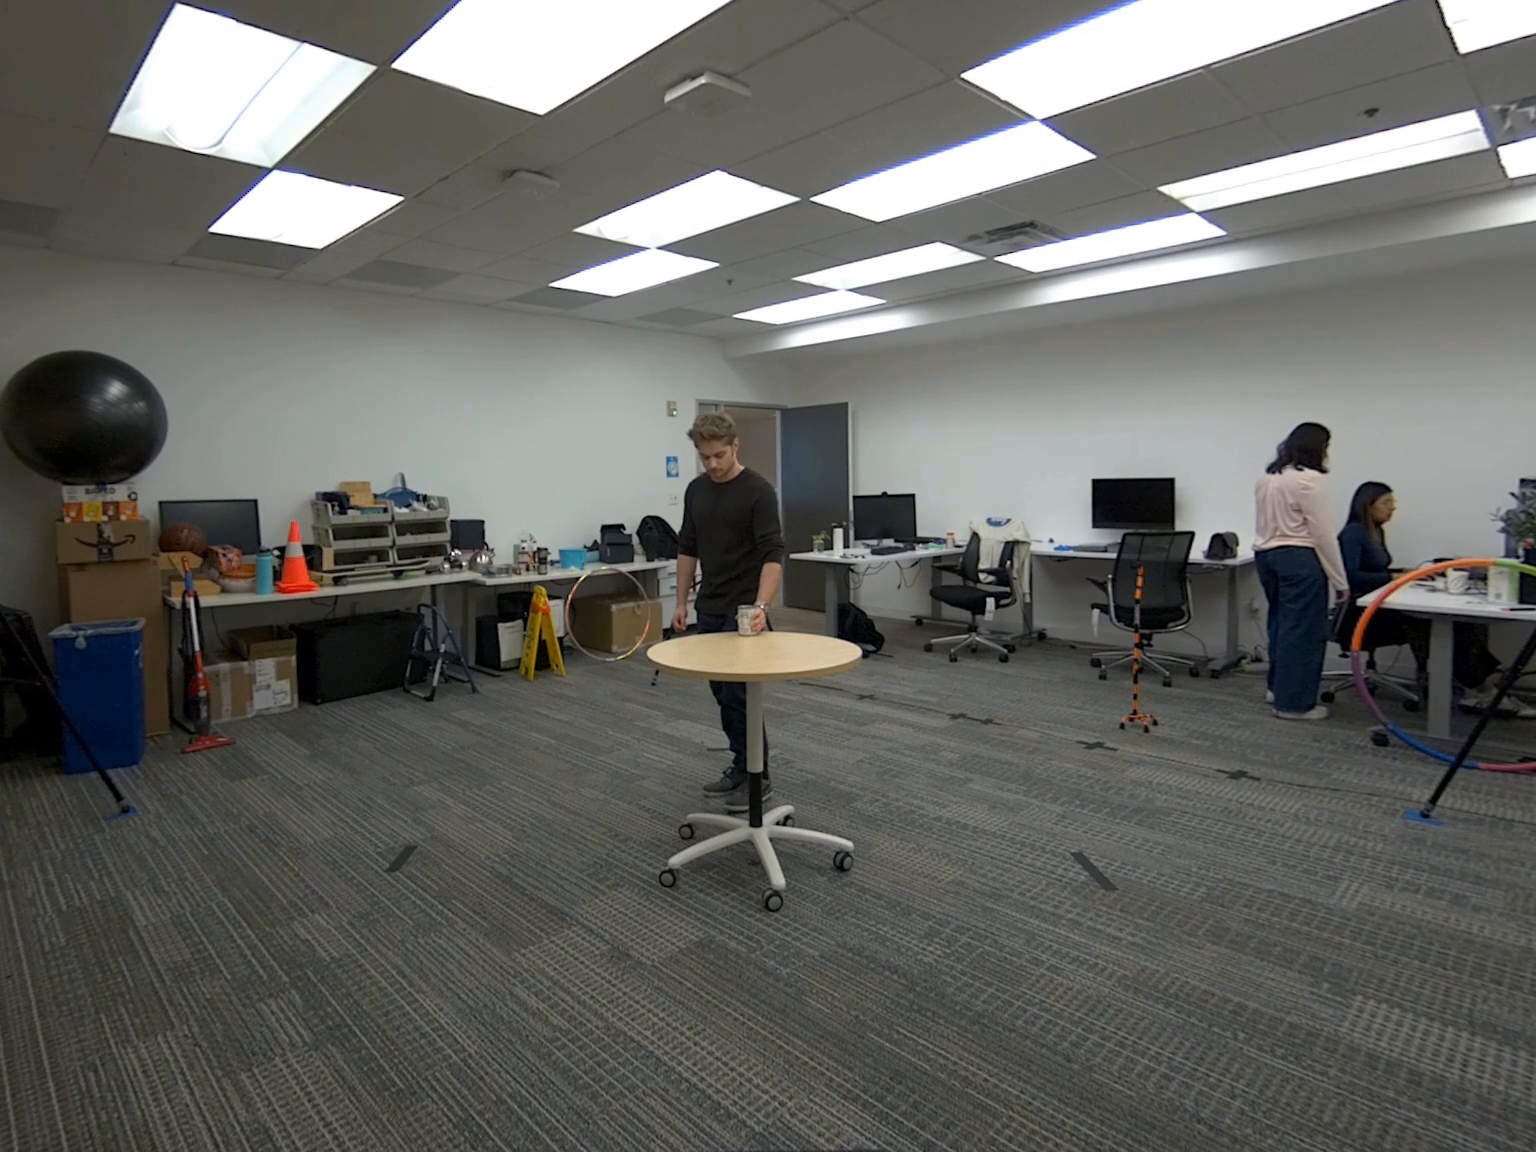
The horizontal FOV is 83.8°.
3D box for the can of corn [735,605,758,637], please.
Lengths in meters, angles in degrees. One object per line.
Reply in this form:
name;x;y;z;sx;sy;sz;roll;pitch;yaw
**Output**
can of corn;-0.087;0.178;3.365;0.074;0.111;0.074;-1;2;-2
